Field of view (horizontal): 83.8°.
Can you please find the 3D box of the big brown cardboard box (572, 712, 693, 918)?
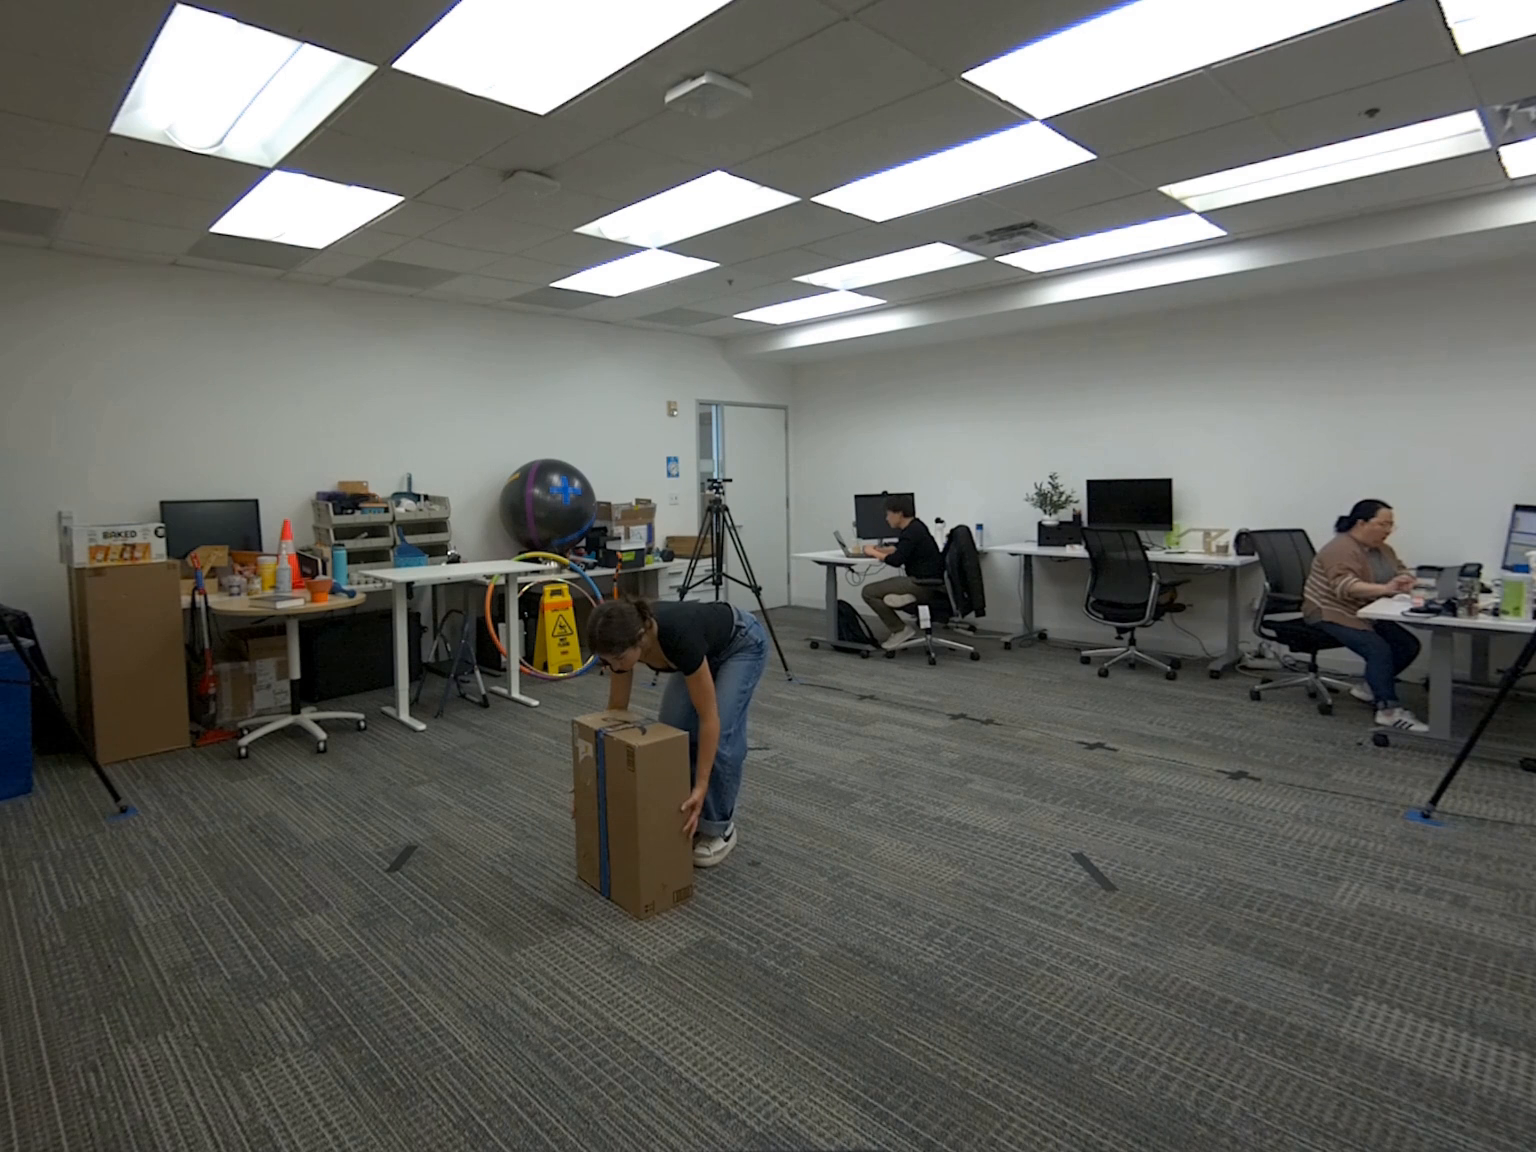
[{"bbox_3d":[-0.468,0.785,2.920,0.227,0.587,0.430,-5,5,-40],"label":"big brown cardboard box"}]
